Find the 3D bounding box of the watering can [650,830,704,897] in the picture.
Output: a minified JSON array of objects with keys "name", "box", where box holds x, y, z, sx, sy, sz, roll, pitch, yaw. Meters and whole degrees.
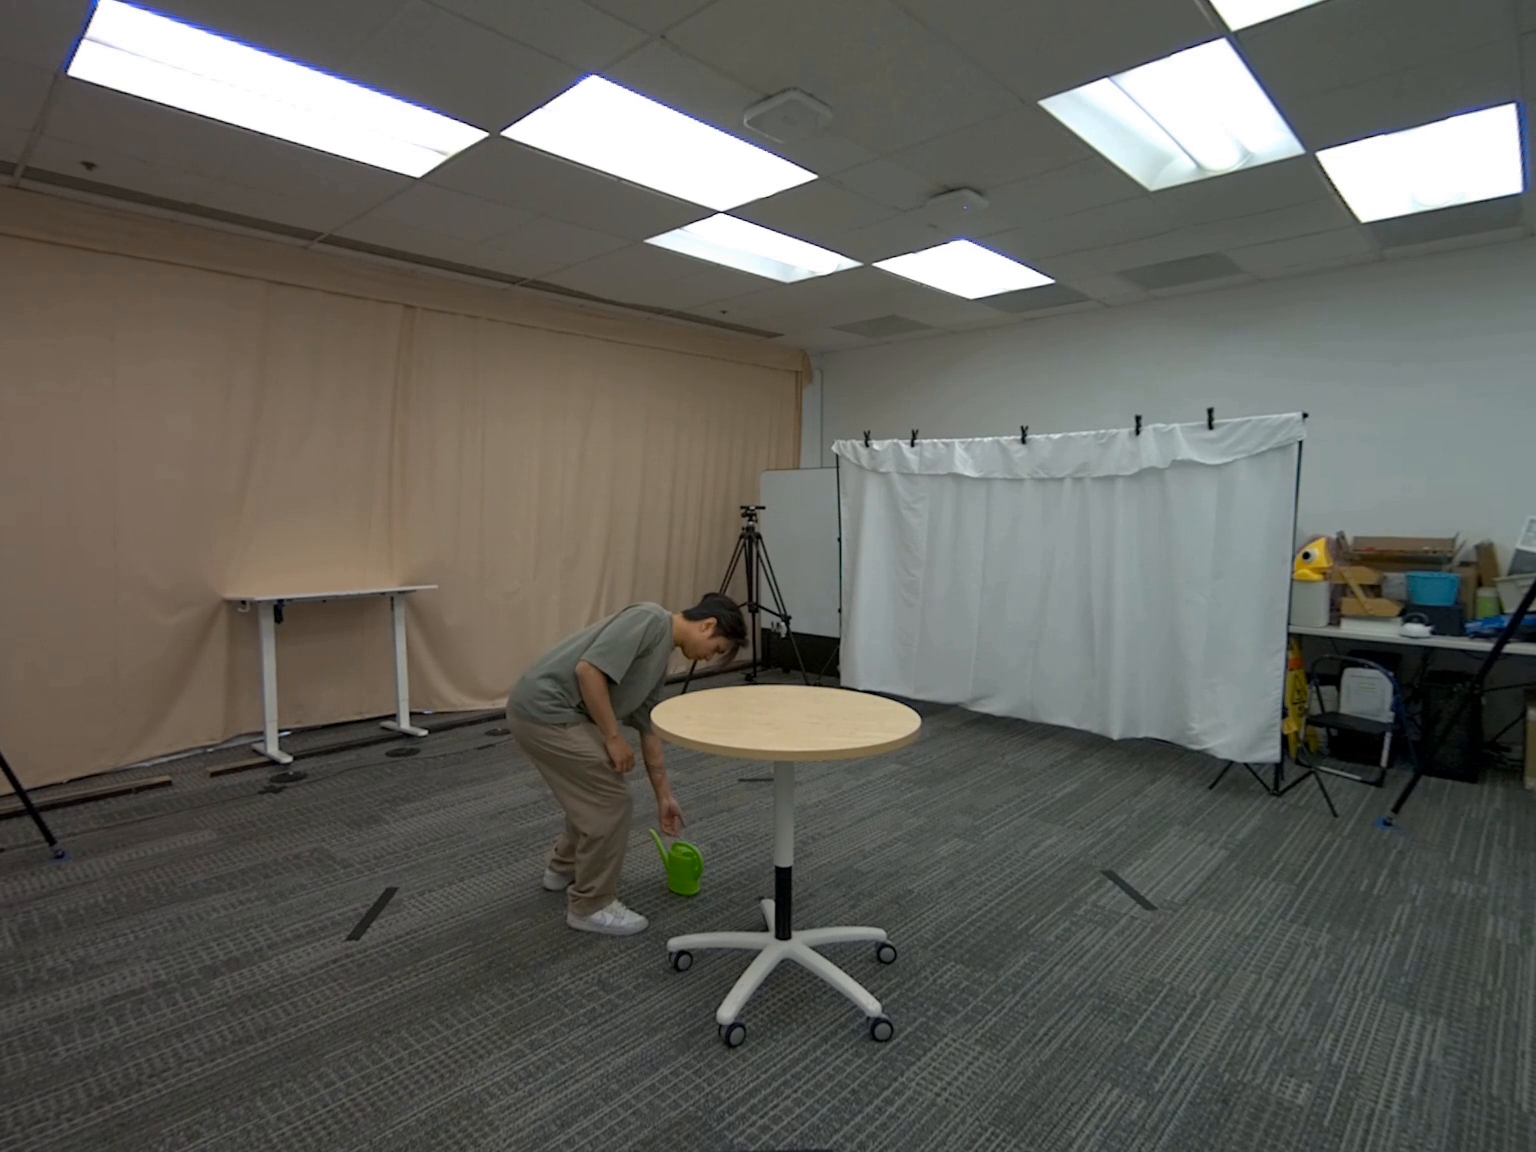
[{"name":"watering can","box":[-0.328,1.046,3.084,0.095,0.176,0.287,-4,6,-37]}]
